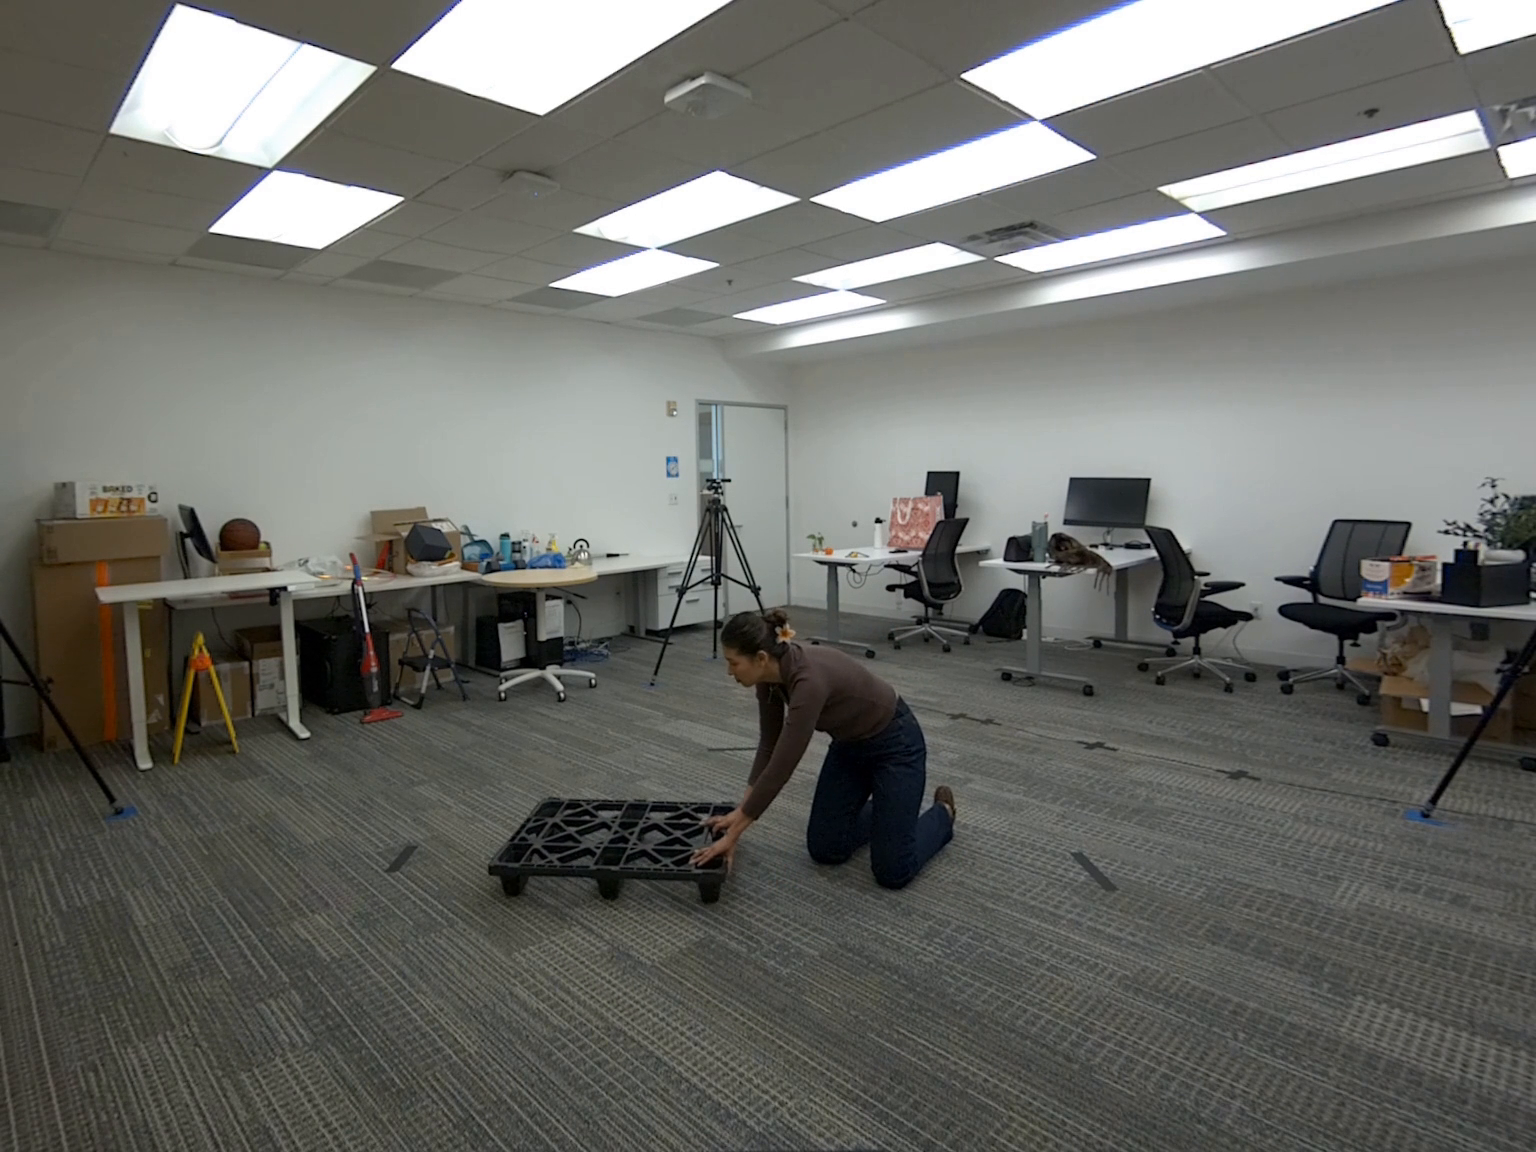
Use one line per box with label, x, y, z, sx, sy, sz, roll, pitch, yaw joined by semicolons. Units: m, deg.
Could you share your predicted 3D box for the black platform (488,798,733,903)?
black platform;-0.514;0.988;3.075;0.810;0.142;0.605;-1;8;5
